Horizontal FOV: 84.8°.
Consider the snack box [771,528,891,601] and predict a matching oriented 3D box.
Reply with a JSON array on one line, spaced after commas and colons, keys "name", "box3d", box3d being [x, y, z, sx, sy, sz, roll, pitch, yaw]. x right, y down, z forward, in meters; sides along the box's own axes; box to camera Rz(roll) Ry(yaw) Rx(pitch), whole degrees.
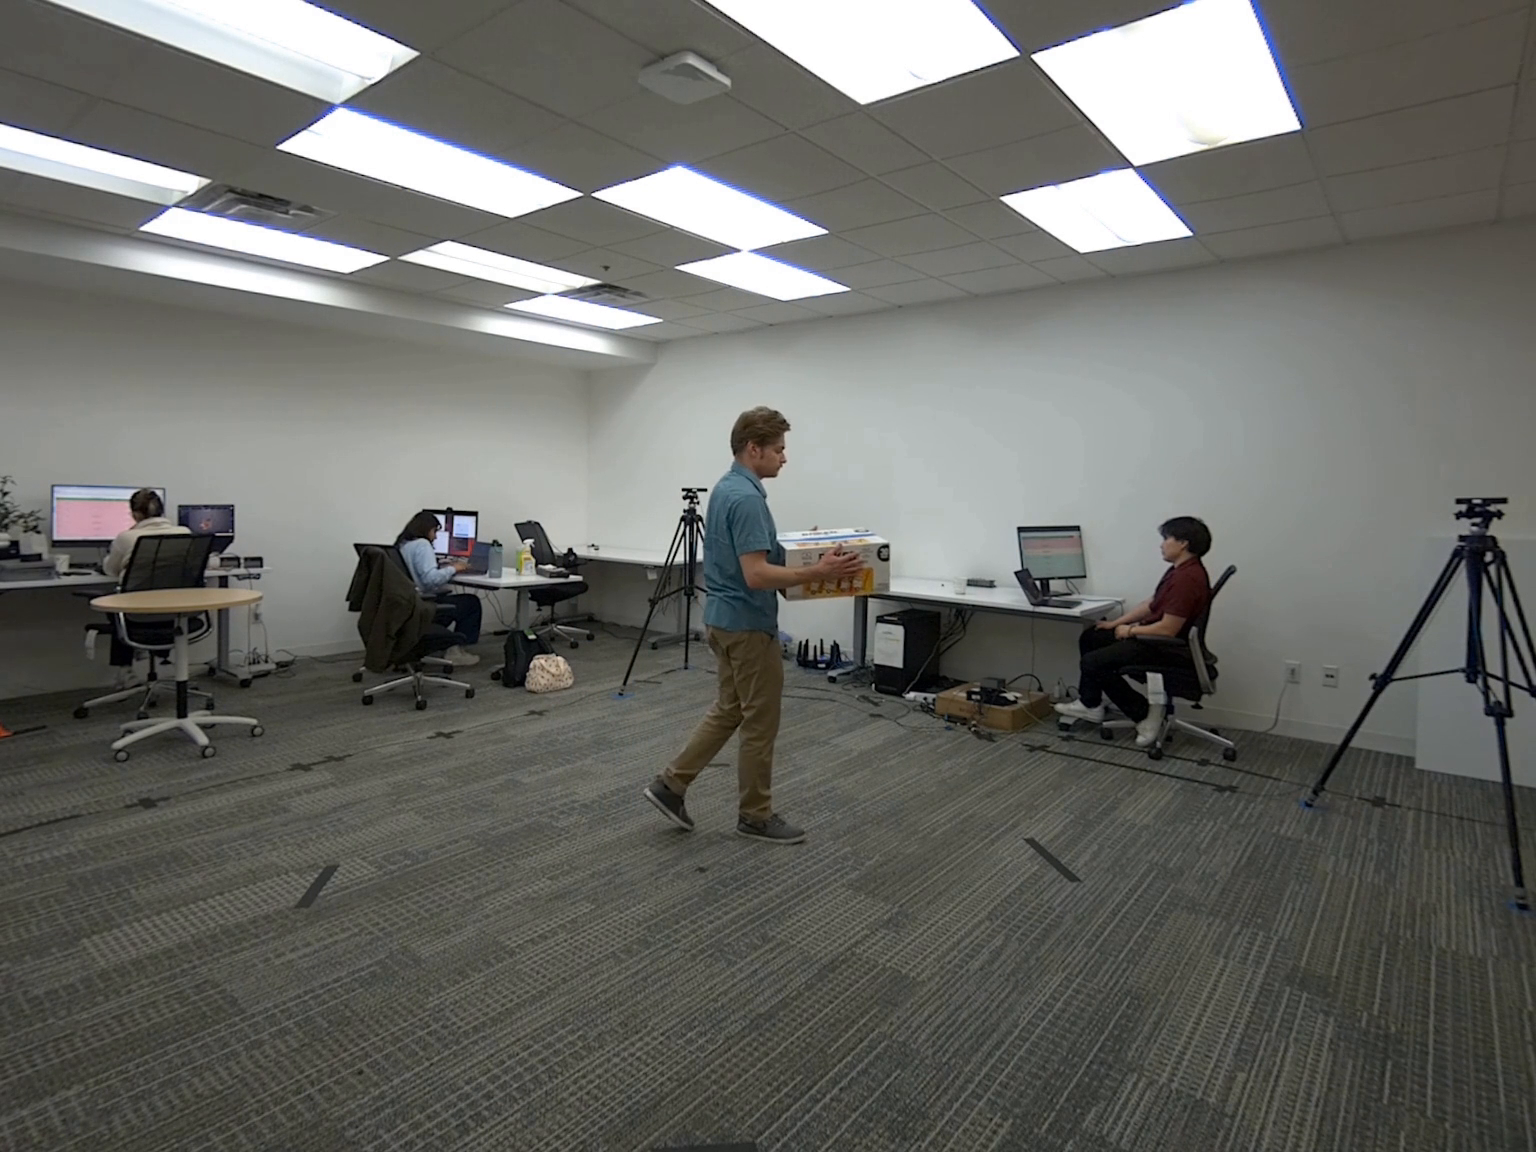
[{"name": "snack box", "box3d": [0.220, -0.058, 3.384, 0.402, 0.203, 0.347, -4, 13, -9]}]
